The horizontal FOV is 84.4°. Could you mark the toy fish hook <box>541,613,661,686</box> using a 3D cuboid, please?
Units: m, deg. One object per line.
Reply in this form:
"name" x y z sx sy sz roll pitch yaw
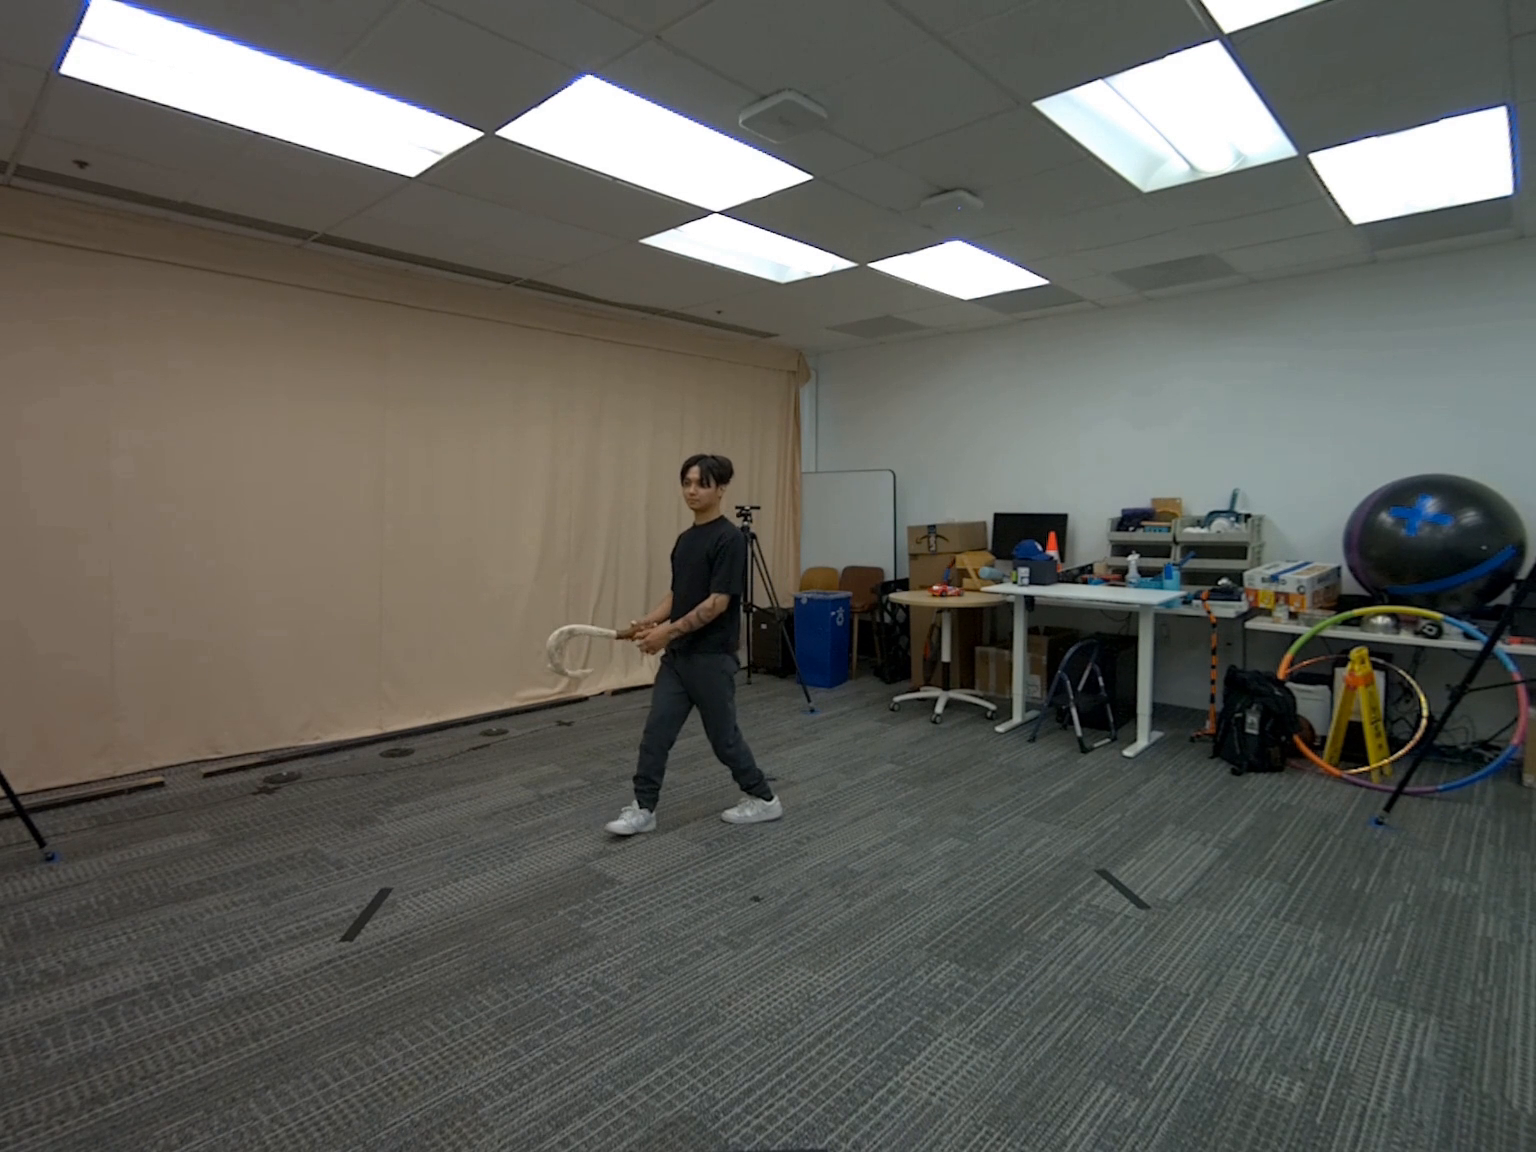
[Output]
"toy fish hook" -0.689 0.297 3.520 0.493 0.224 0.050 -6 7 -32
